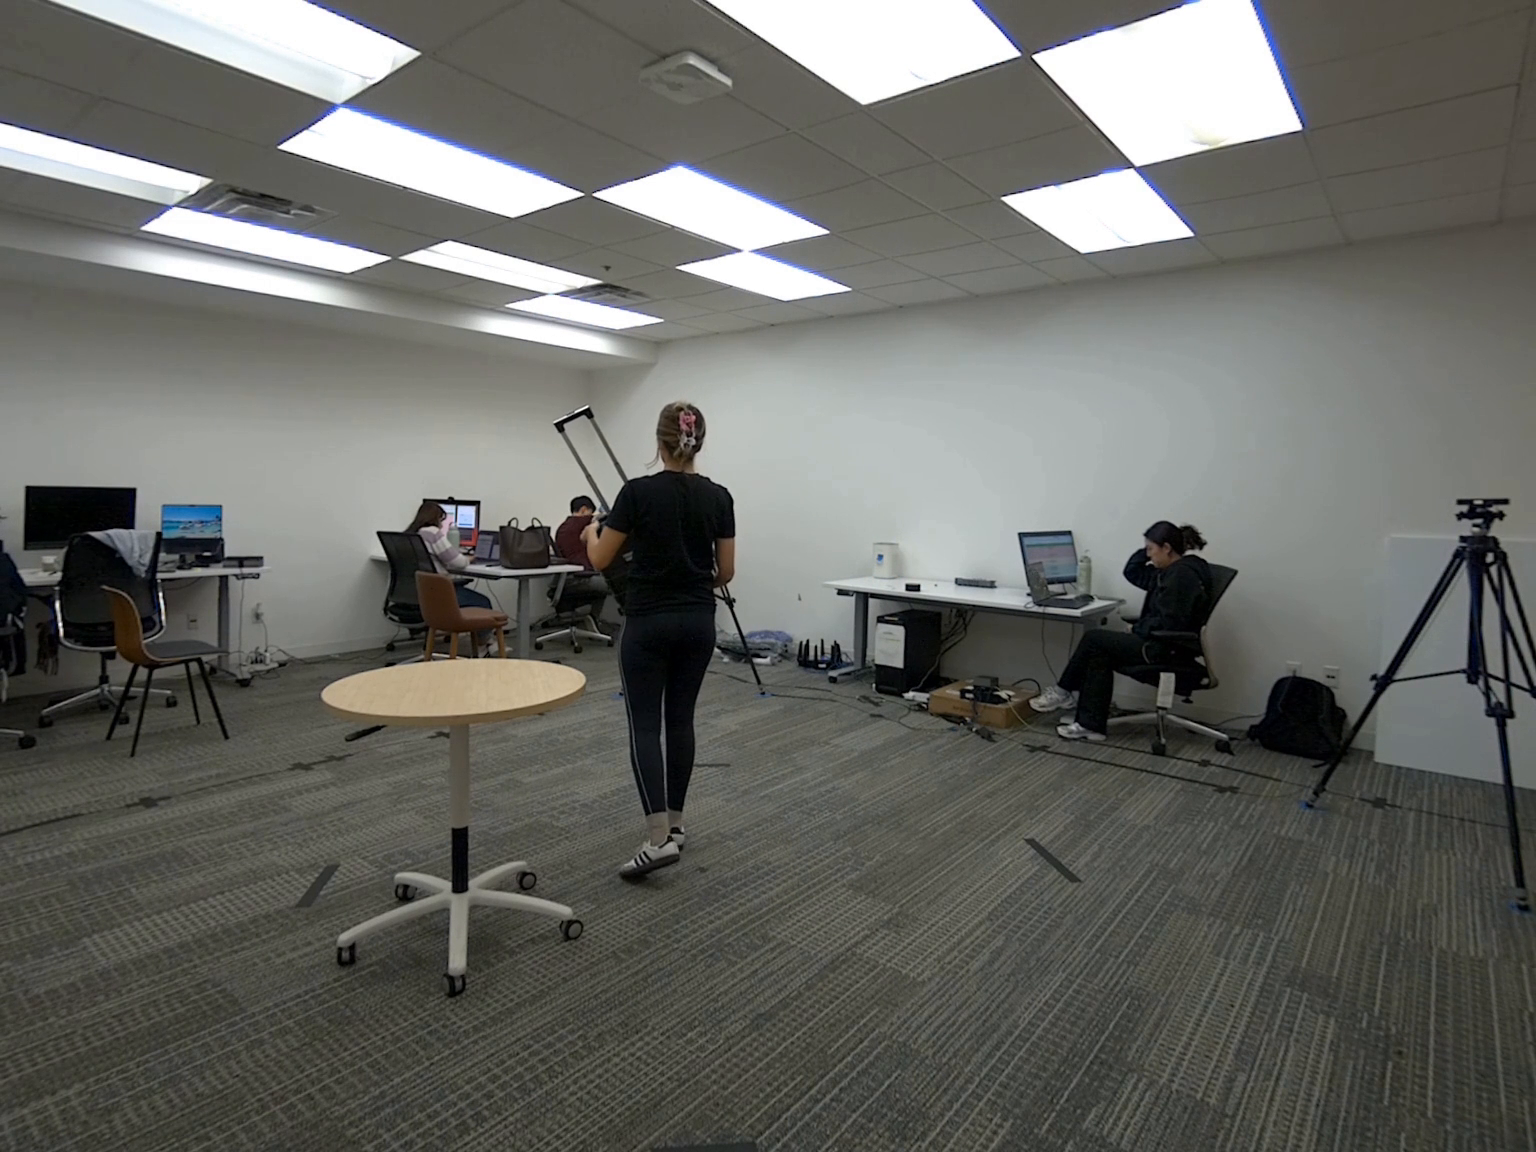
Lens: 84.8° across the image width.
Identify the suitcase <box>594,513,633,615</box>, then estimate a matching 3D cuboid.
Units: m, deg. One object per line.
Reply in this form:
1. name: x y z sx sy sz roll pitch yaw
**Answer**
1. suitcase: -0.588 -0.207 3.478 0.386 0.948 0.264 -21 28 8
